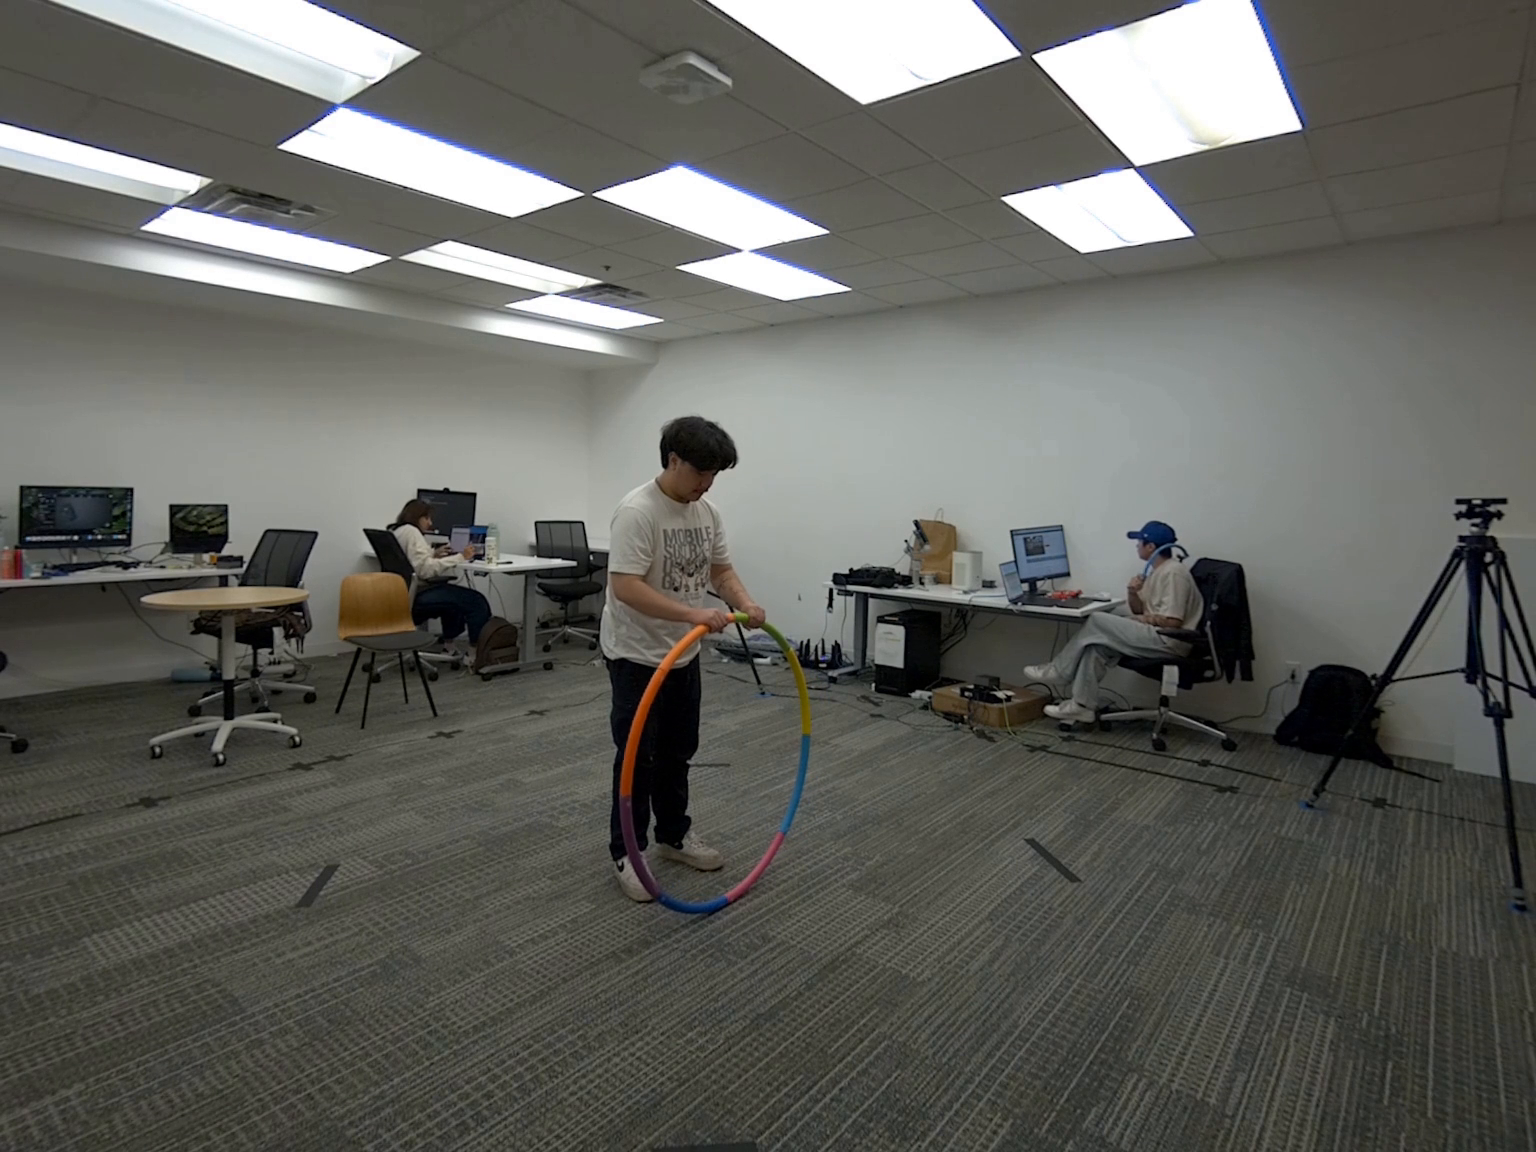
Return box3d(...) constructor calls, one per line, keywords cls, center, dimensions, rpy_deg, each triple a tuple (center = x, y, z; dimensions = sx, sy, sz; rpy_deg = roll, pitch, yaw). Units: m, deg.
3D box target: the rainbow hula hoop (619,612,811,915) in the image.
box3d(cls="rainbow hula hoop", center=(-0.143, 0.610, 2.835), dimensions=(0.053, 0.983, 0.957), rpy_deg=(2, 4, 37))
